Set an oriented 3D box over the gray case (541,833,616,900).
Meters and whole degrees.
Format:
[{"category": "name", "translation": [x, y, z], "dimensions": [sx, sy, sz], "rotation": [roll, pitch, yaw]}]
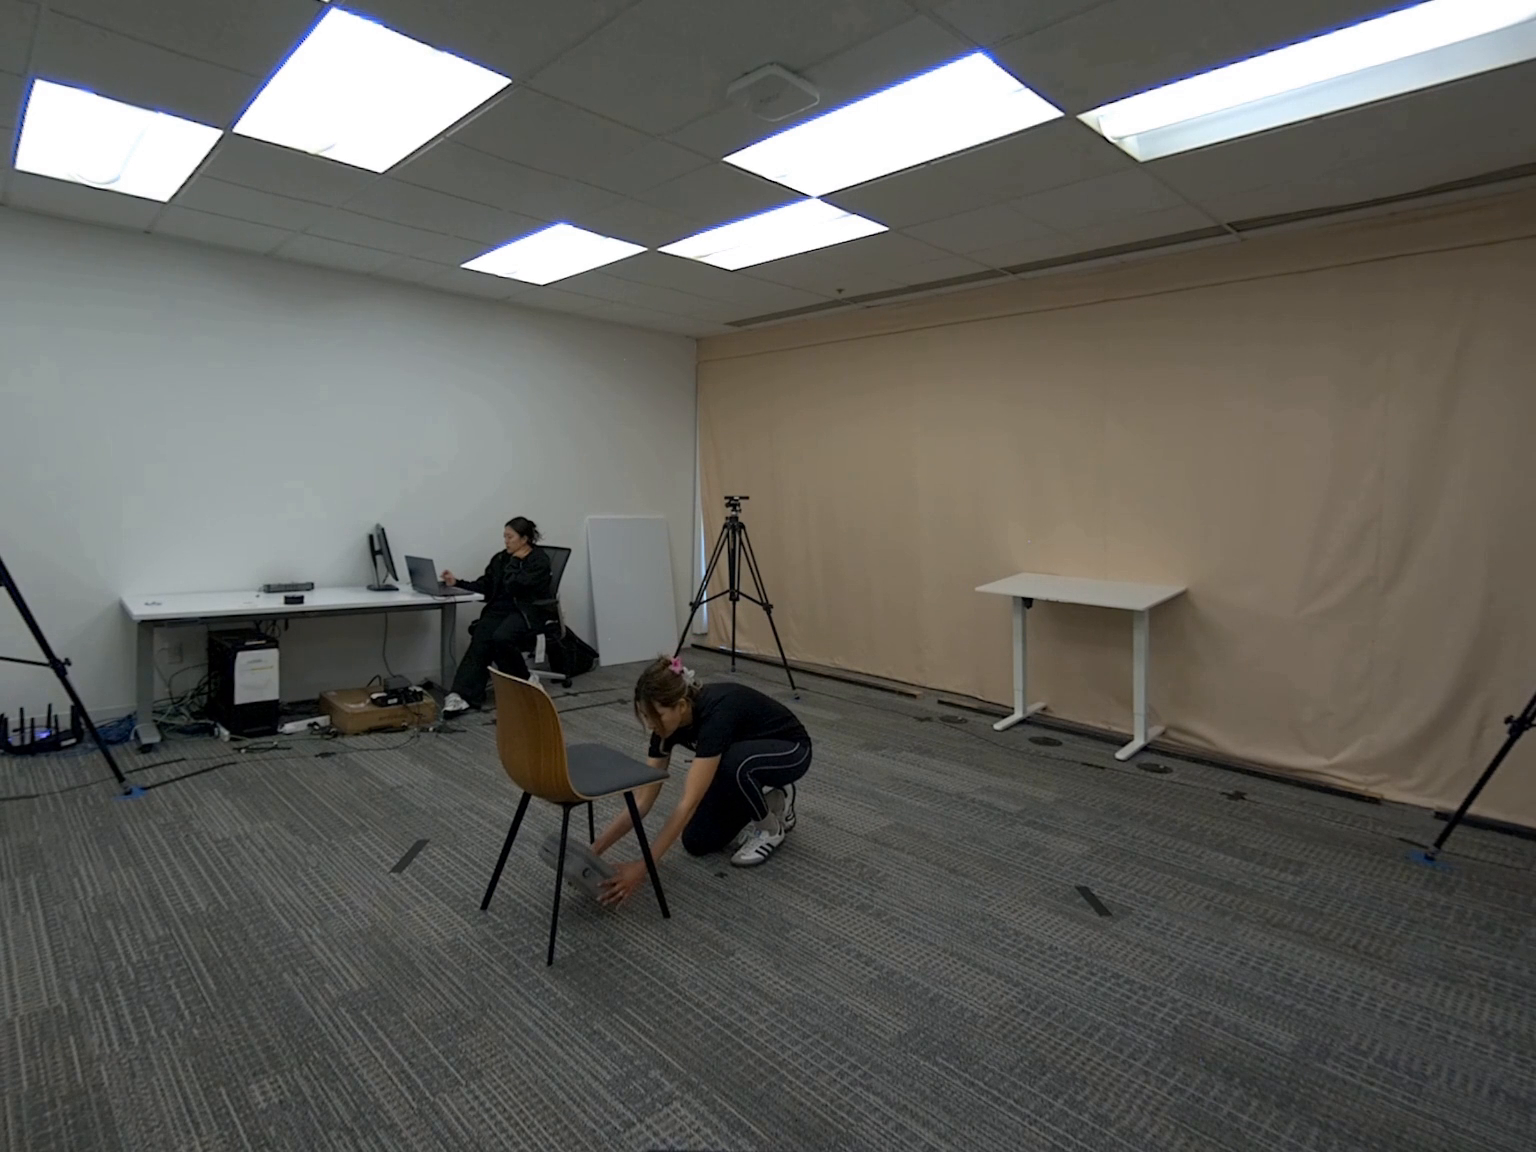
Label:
[{"category": "gray case", "translation": [-0.625, 0.978, 2.790], "dimensions": [0.263, 0.254, 0.104], "rotation": [2, 47, 51]}]
